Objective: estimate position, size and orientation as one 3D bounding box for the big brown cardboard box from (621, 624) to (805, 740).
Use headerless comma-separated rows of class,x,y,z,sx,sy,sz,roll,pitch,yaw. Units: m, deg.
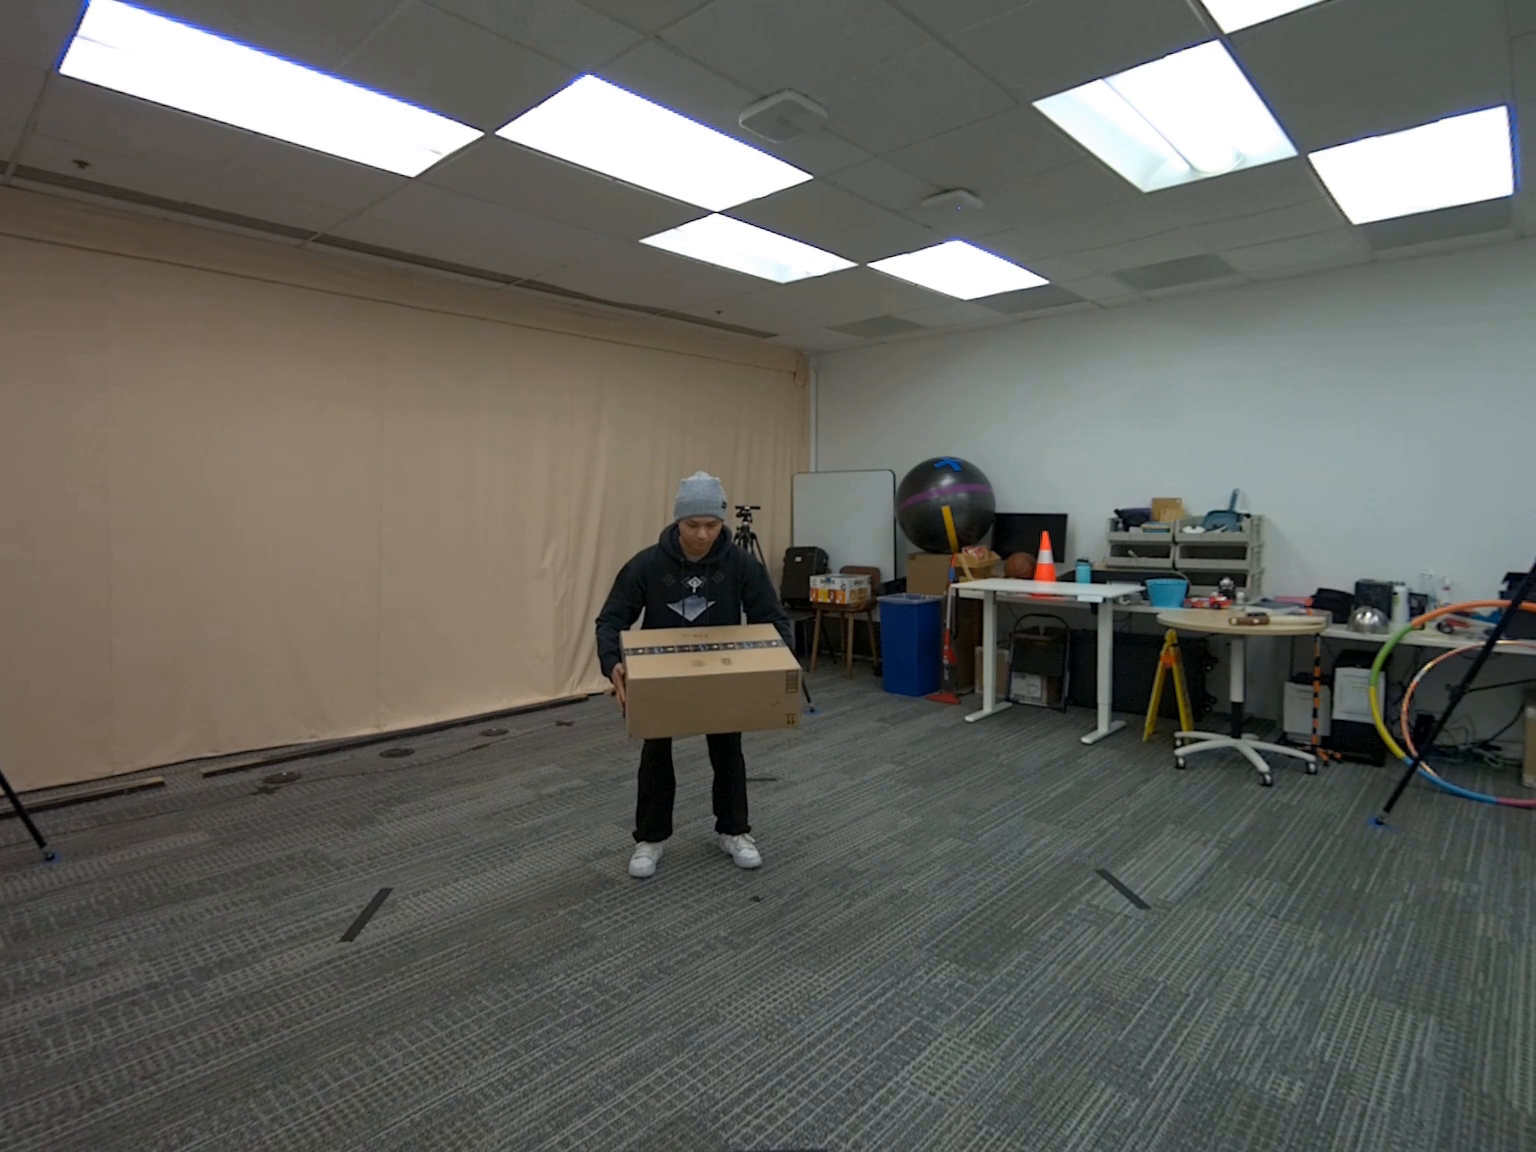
big brown cardboard box,-0.218,0.352,2.911,0.584,0.231,0.426,-3,18,-9
